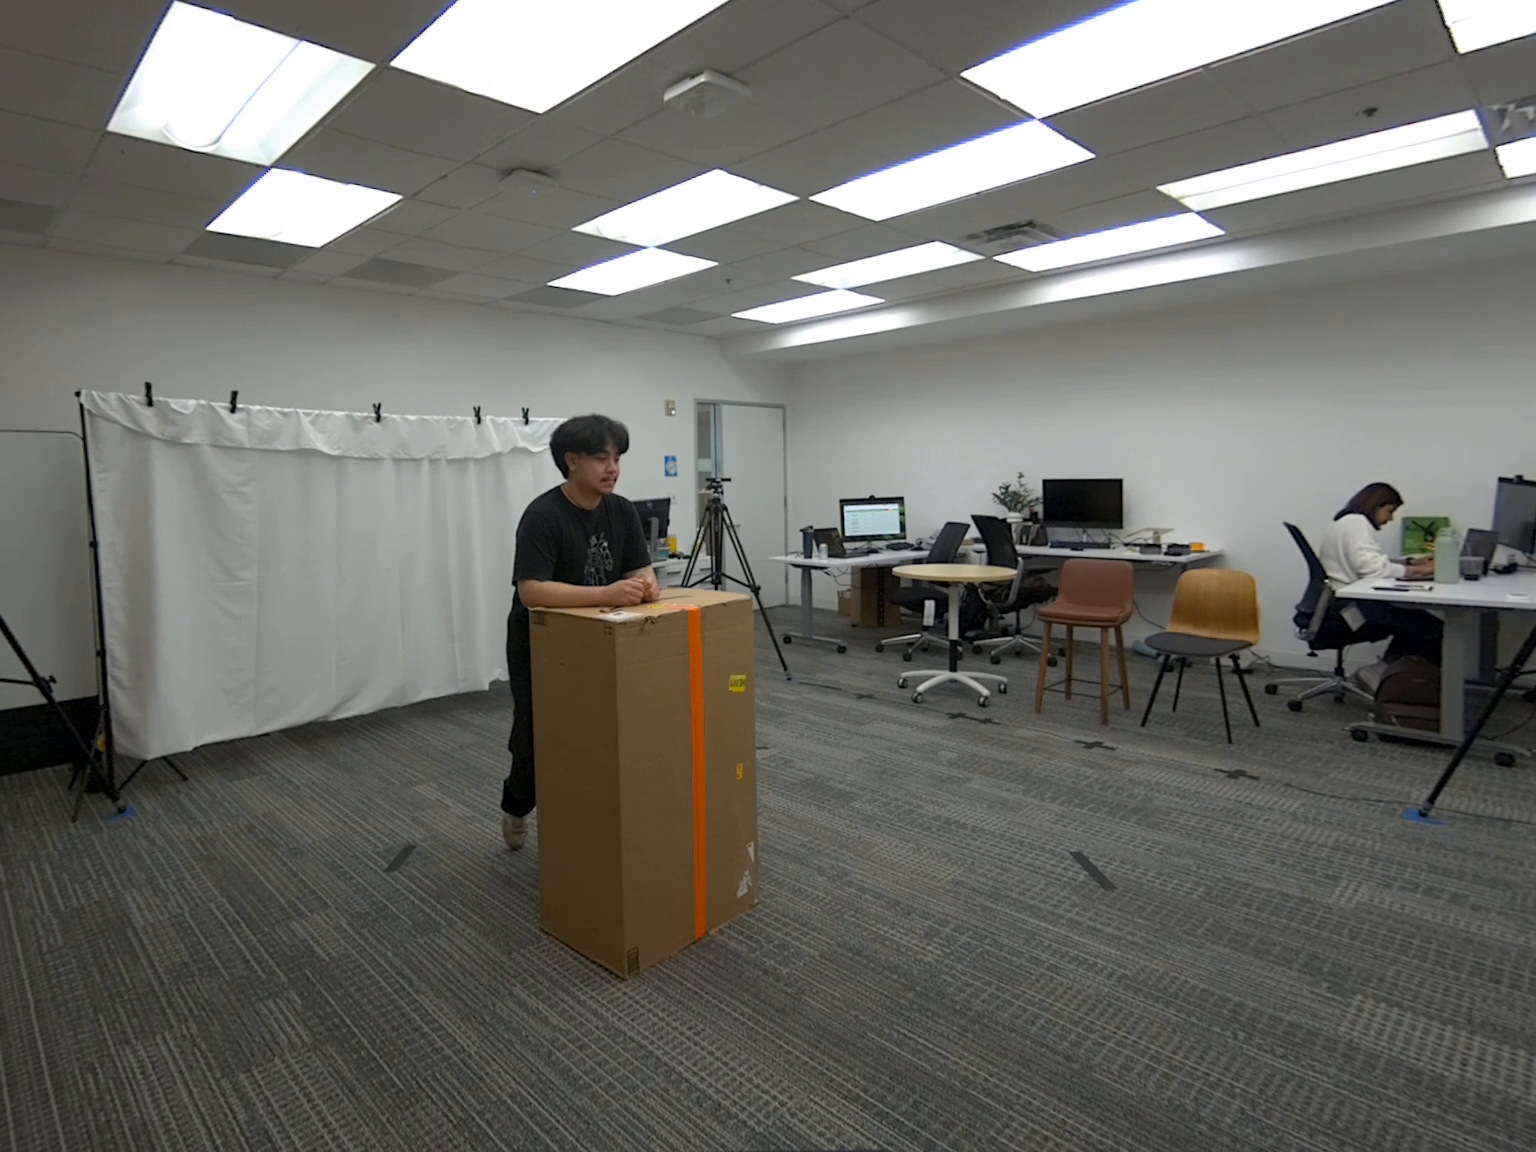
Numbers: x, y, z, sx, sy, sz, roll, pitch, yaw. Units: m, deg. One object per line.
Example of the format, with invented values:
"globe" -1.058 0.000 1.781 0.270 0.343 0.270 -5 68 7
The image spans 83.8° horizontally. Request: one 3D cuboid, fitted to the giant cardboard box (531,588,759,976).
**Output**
"giant cardboard box" -0.376 0.586 2.704 0.461 1.022 0.569 4 7 43
